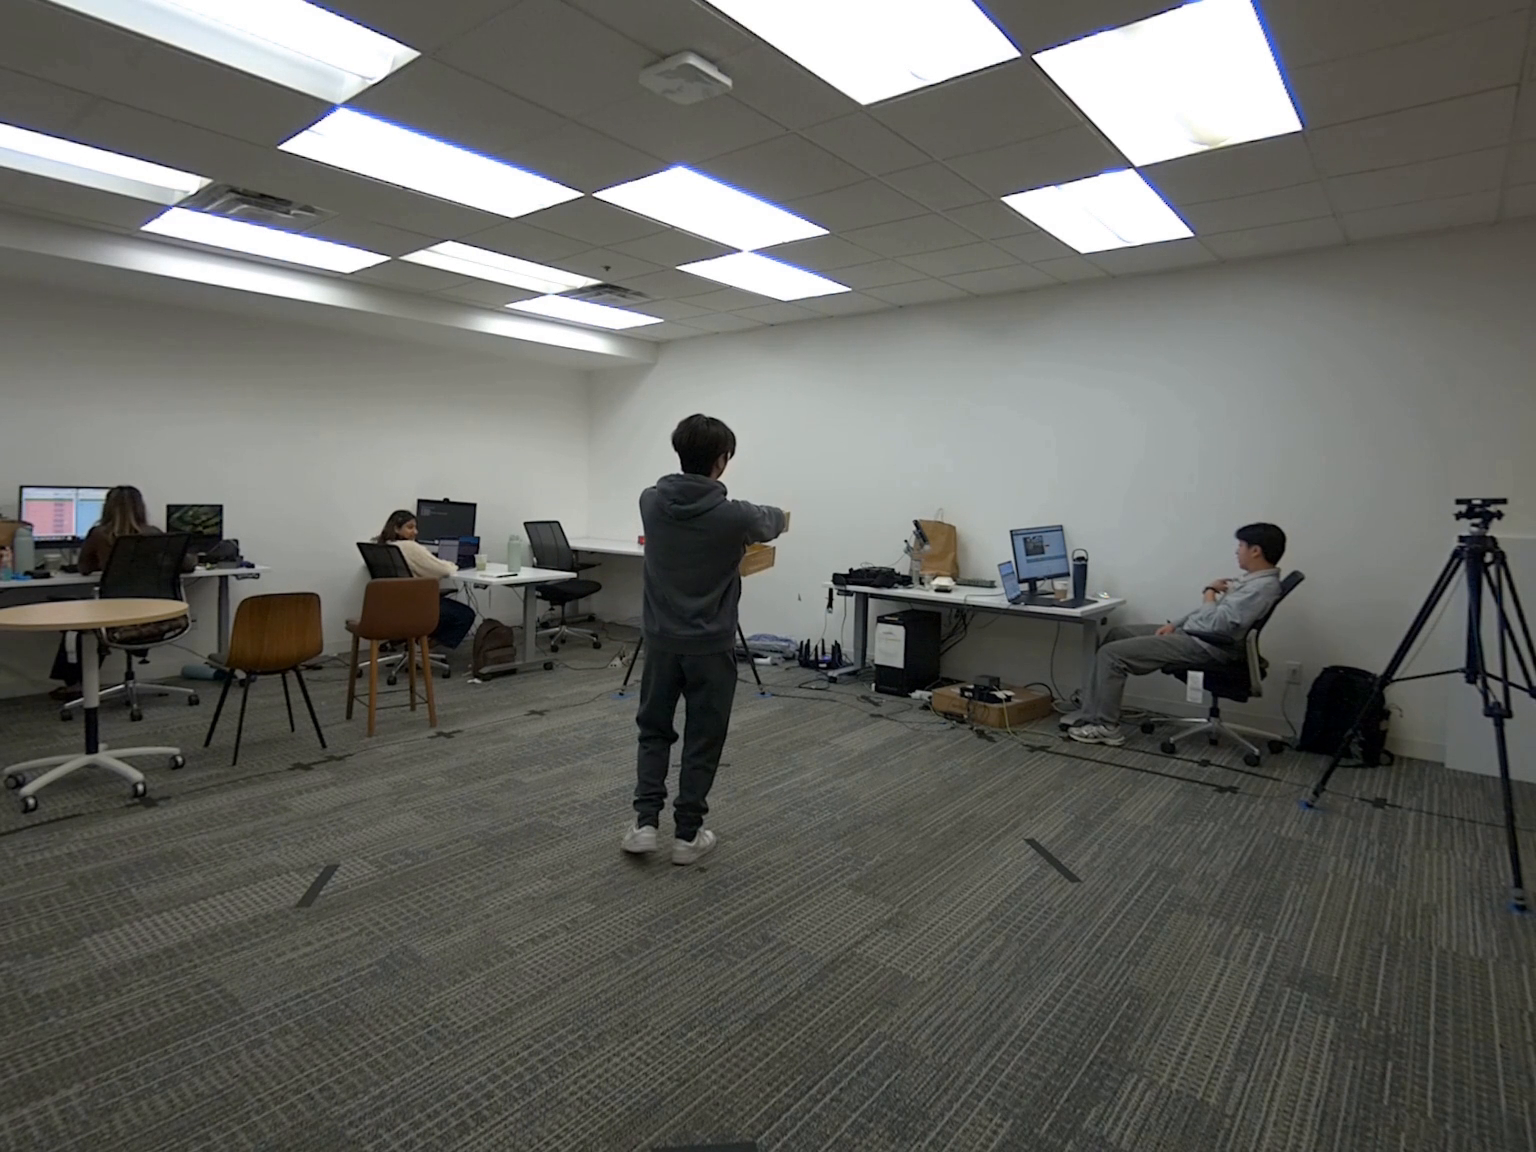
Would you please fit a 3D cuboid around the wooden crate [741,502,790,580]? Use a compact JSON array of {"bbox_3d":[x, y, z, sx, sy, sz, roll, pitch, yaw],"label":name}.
[{"bbox_3d":[-0.125,-0.171,3.722,0.311,0.271,0.318,11,13,26],"label":"wooden crate"}]
